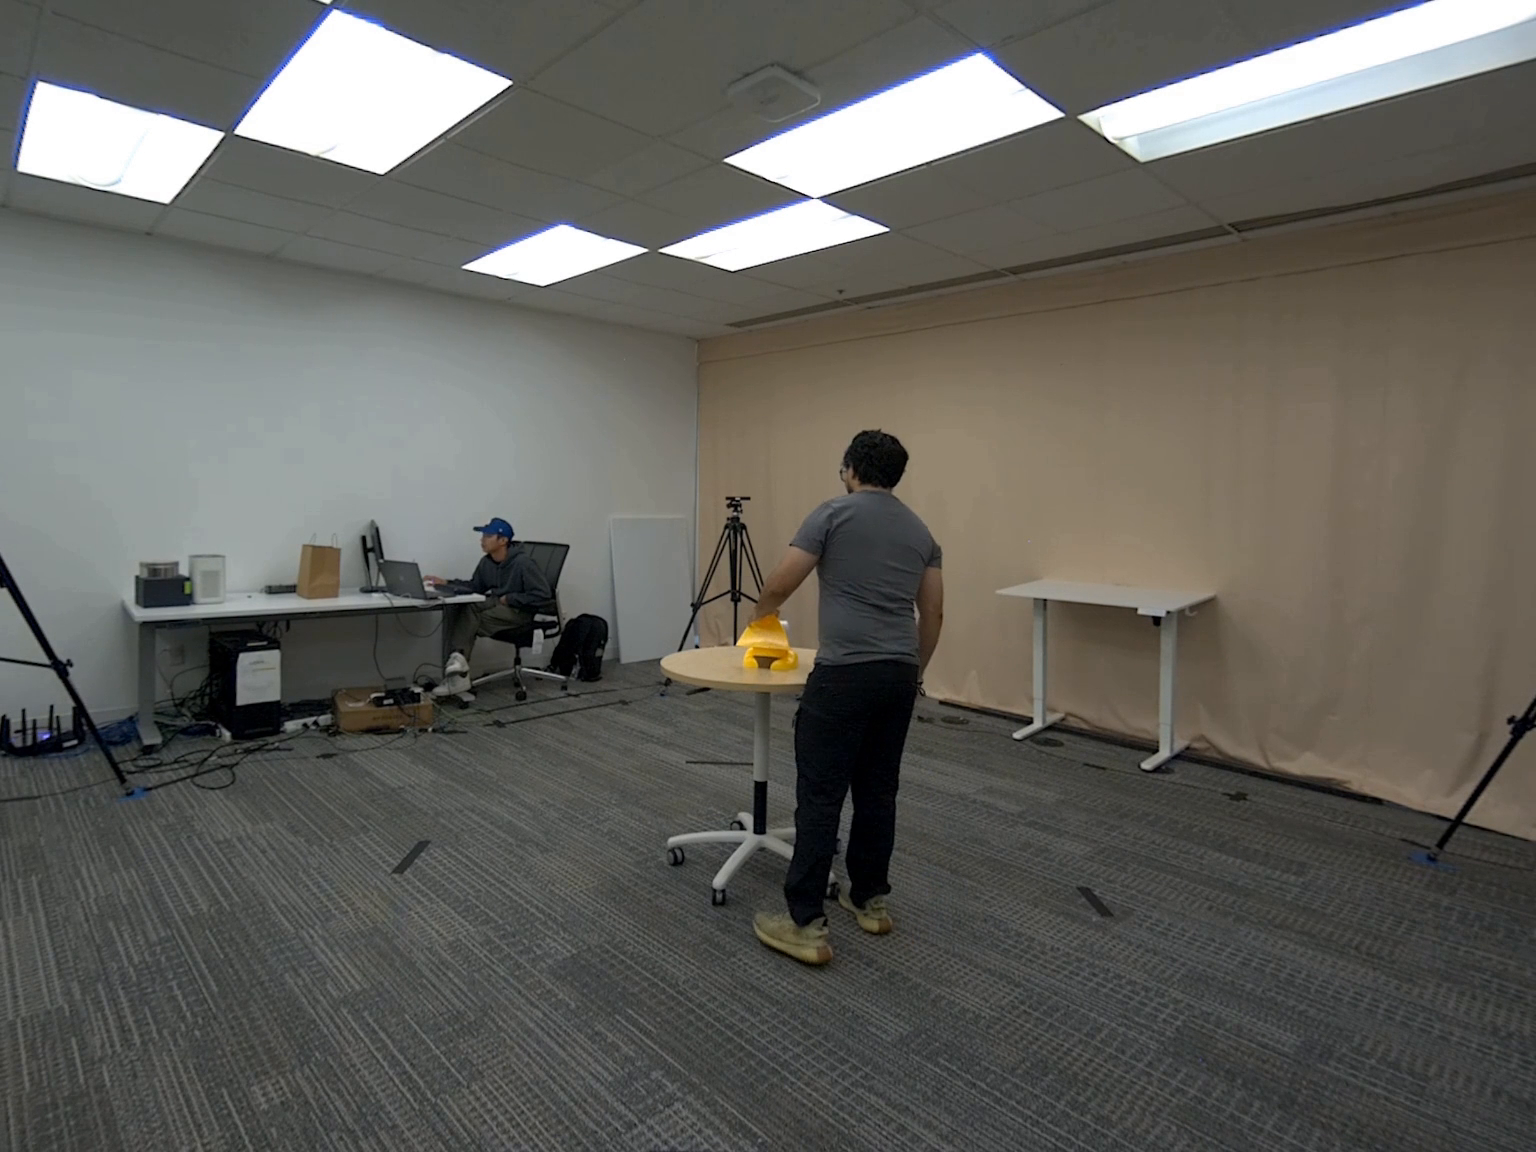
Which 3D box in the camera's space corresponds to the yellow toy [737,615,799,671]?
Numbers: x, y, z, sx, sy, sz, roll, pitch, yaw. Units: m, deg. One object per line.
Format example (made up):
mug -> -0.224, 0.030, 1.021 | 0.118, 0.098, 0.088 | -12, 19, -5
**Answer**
yellow toy -> 0.004, 0.215, 3.077 | 0.208, 0.230, 0.190 | 2, 3, 20
